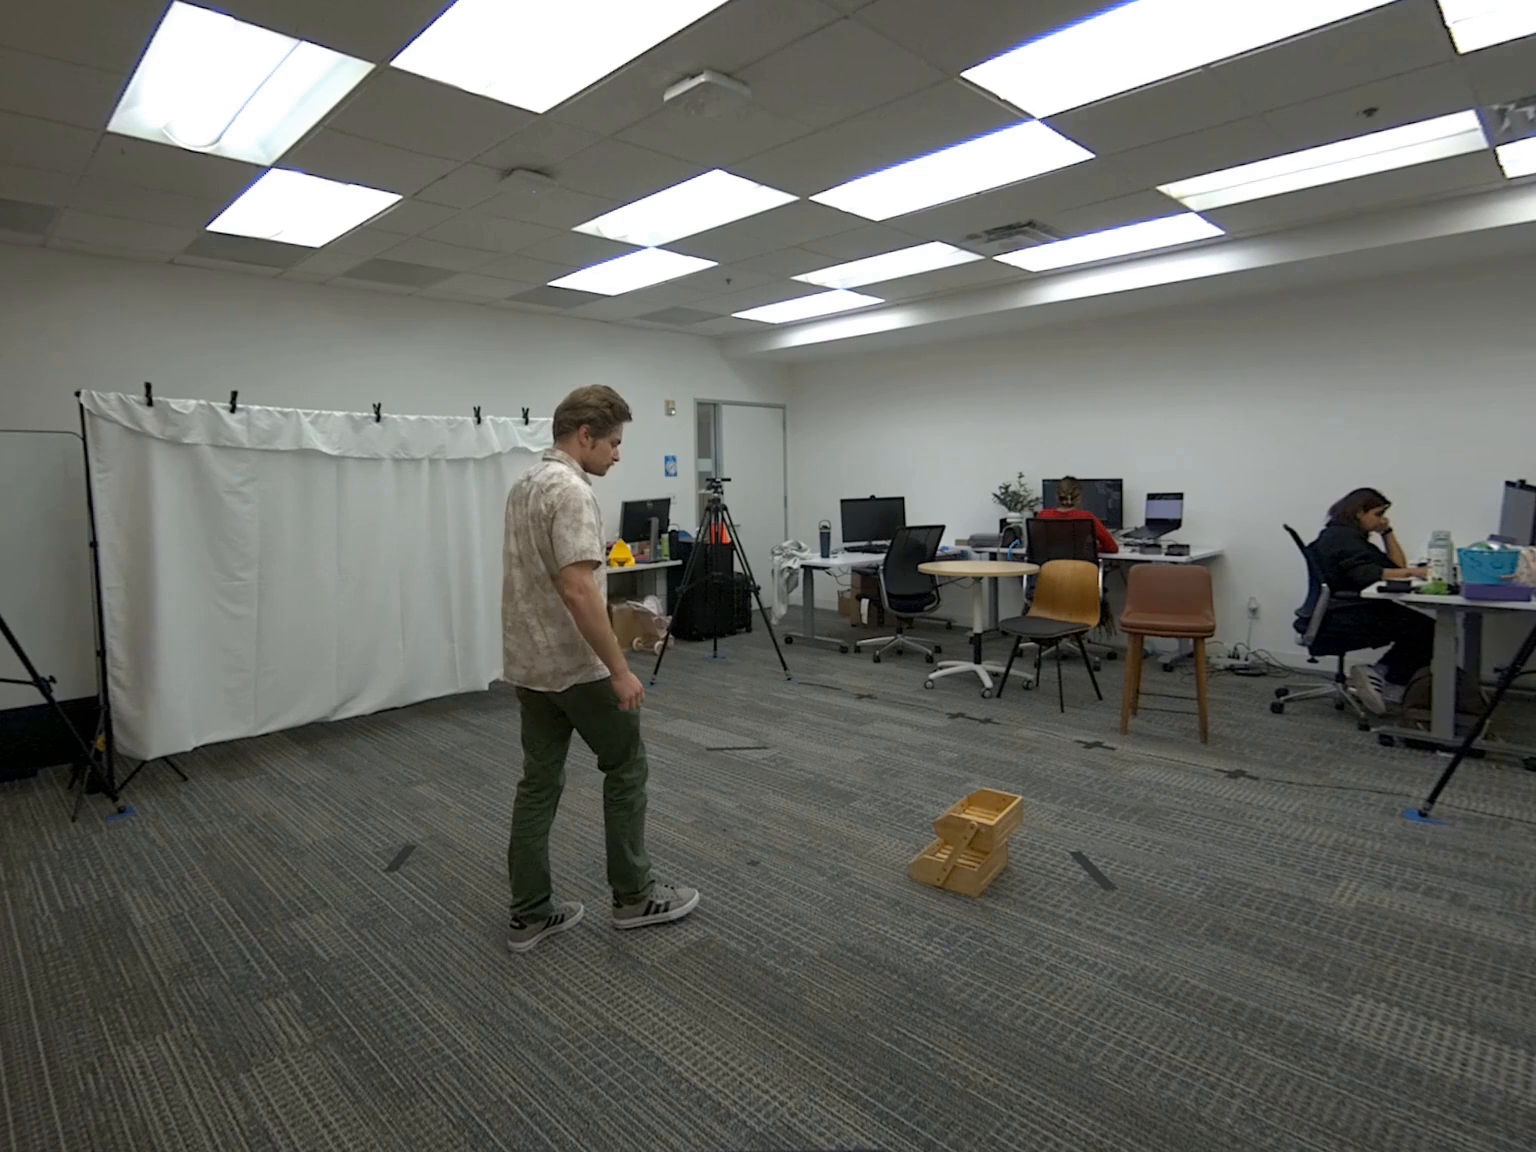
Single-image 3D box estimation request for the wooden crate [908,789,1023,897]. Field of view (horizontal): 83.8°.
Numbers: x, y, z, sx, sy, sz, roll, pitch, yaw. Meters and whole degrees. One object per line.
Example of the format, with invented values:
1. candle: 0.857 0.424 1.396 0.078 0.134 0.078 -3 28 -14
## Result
1. wooden crate: 0.695 0.909 2.989 0.311 0.272 0.316 3 7 35
